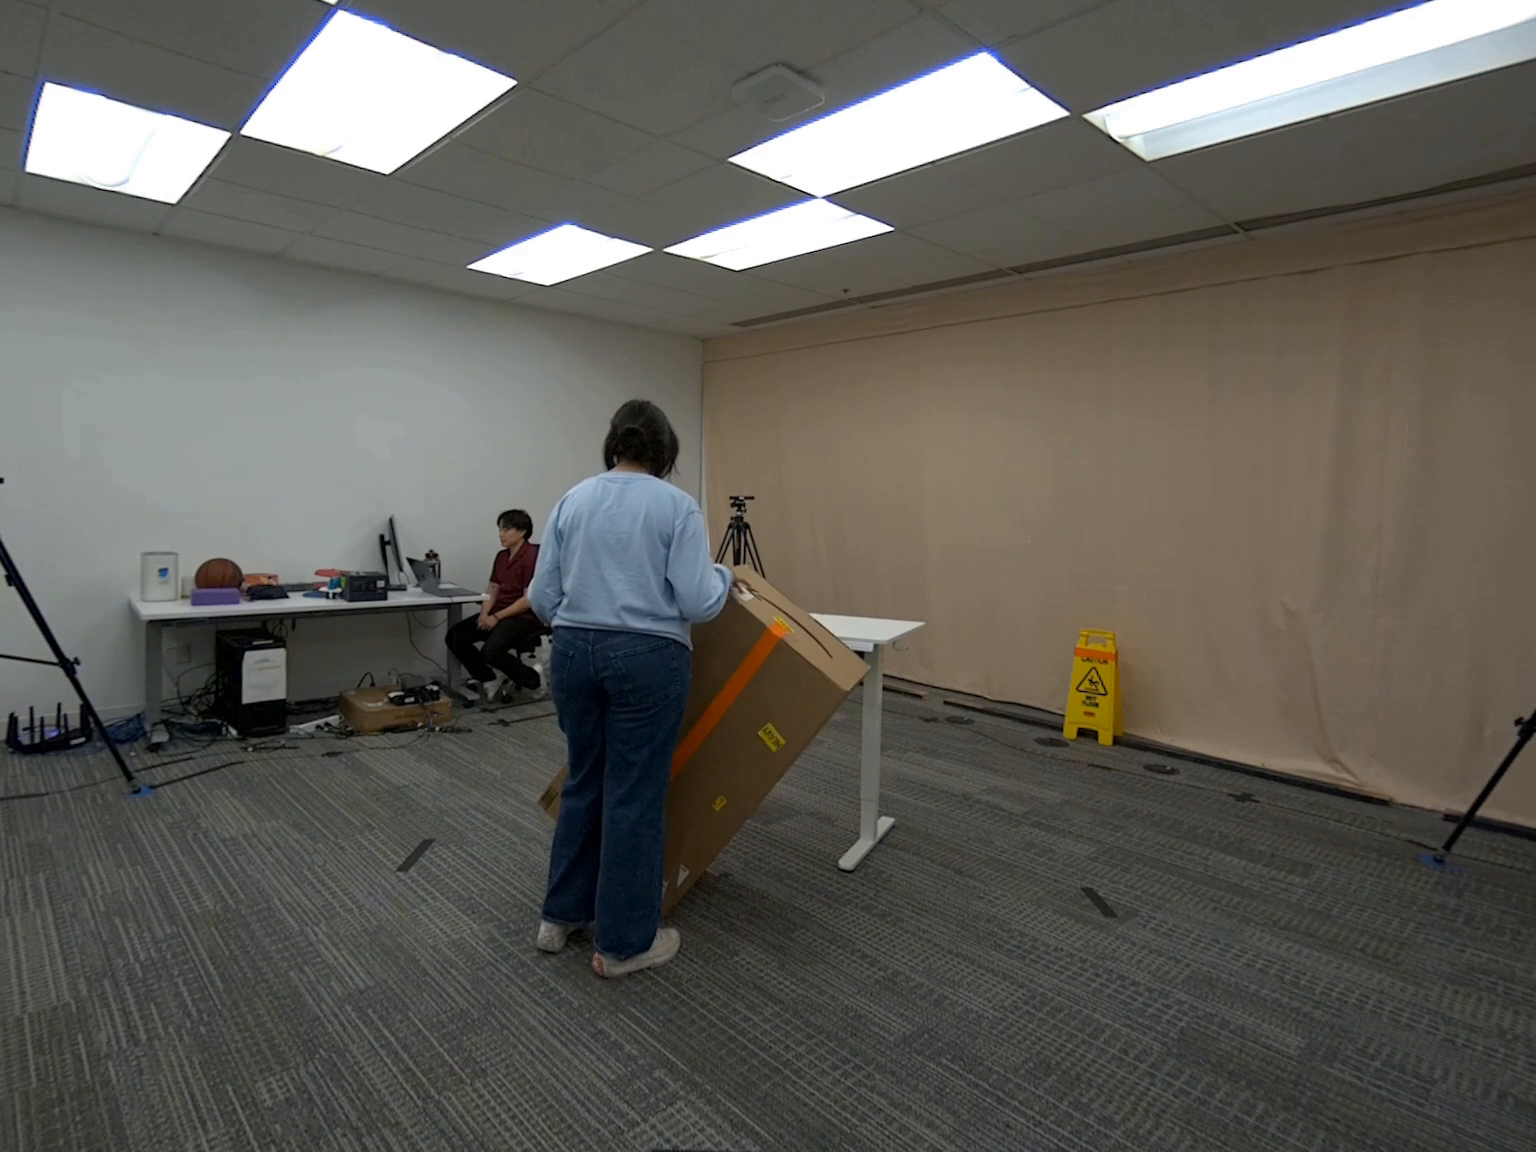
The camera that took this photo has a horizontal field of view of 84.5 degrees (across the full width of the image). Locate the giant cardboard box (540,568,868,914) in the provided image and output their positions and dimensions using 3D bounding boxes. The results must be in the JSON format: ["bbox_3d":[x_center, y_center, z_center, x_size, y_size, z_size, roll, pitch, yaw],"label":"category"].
[{"bbox_3d":[-0.219,0.547,2.887,0.585,1.024,0.421,40,14,12],"label":"giant cardboard box"}]
